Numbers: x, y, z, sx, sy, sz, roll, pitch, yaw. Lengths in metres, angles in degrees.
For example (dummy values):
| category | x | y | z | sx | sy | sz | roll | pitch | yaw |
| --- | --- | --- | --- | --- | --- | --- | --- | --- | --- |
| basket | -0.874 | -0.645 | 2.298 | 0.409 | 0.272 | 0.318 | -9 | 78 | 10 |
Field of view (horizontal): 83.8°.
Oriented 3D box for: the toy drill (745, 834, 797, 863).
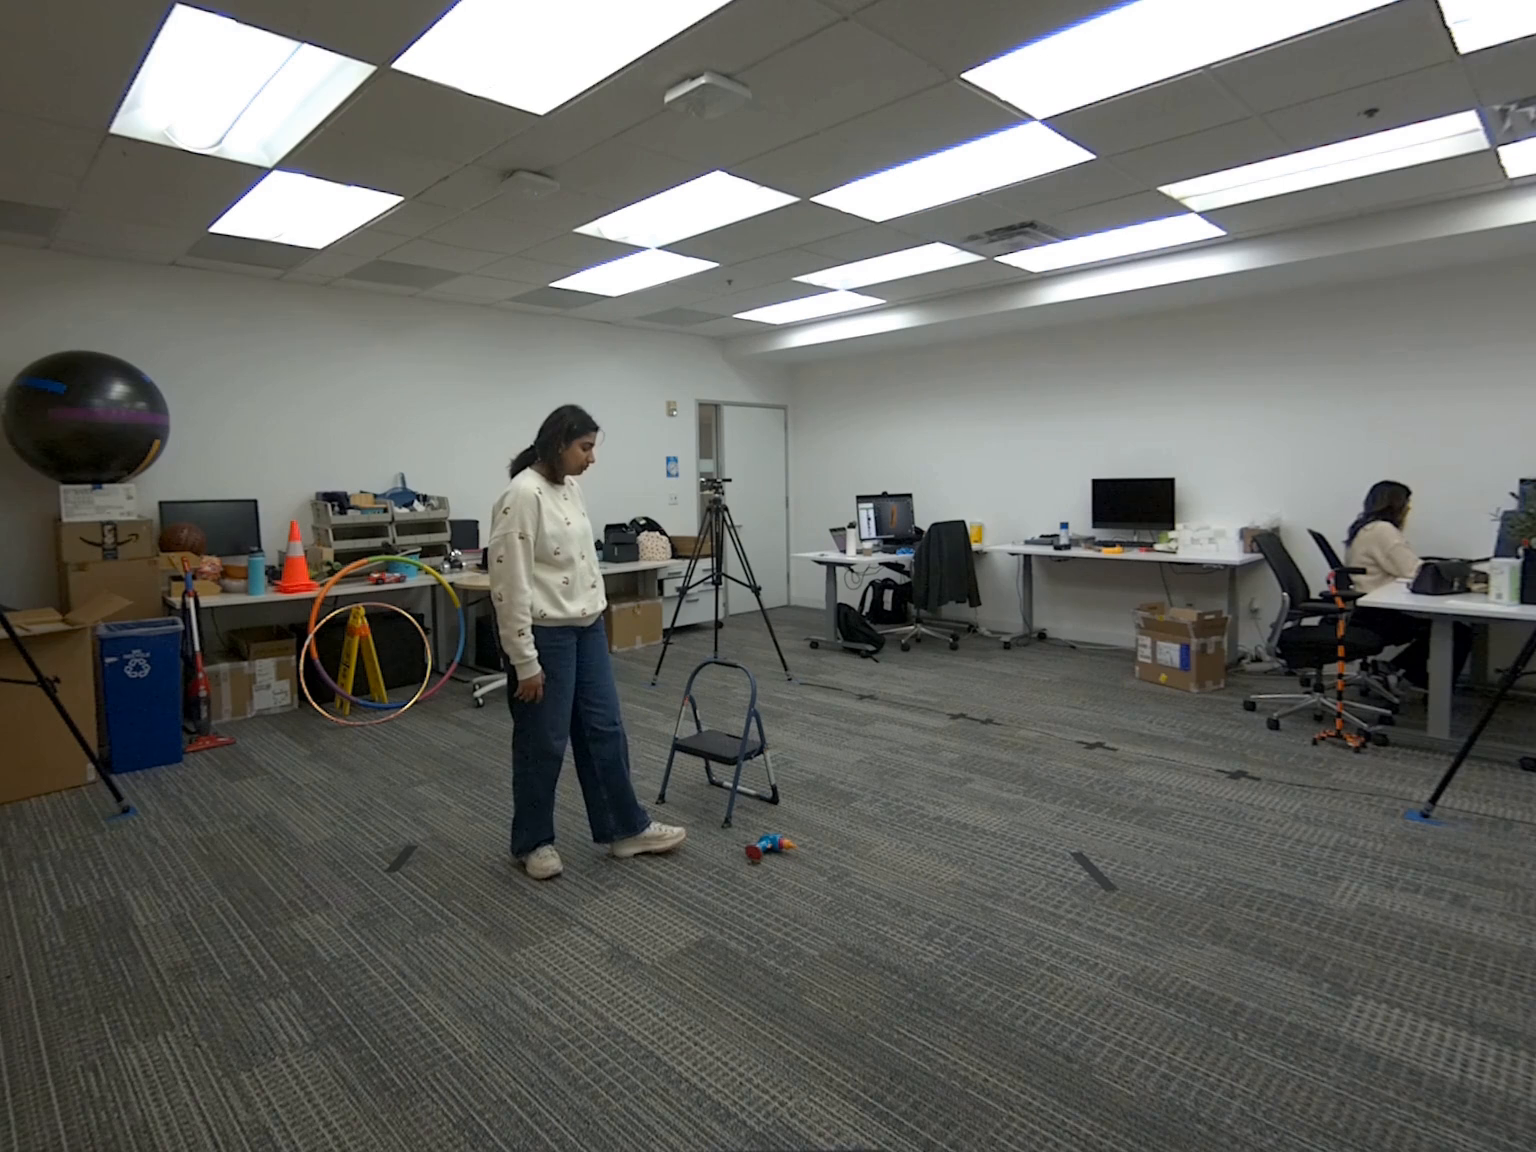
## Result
| category | x | y | z | sx | sy | sz | roll | pitch | yaw |
| --- | --- | --- | --- | --- | --- | --- | --- | --- | --- |
| toy drill | 0.009 | 1.002 | 3.167 | 0.174 | 0.061 | 0.142 | -1 | 4 | 34 |
